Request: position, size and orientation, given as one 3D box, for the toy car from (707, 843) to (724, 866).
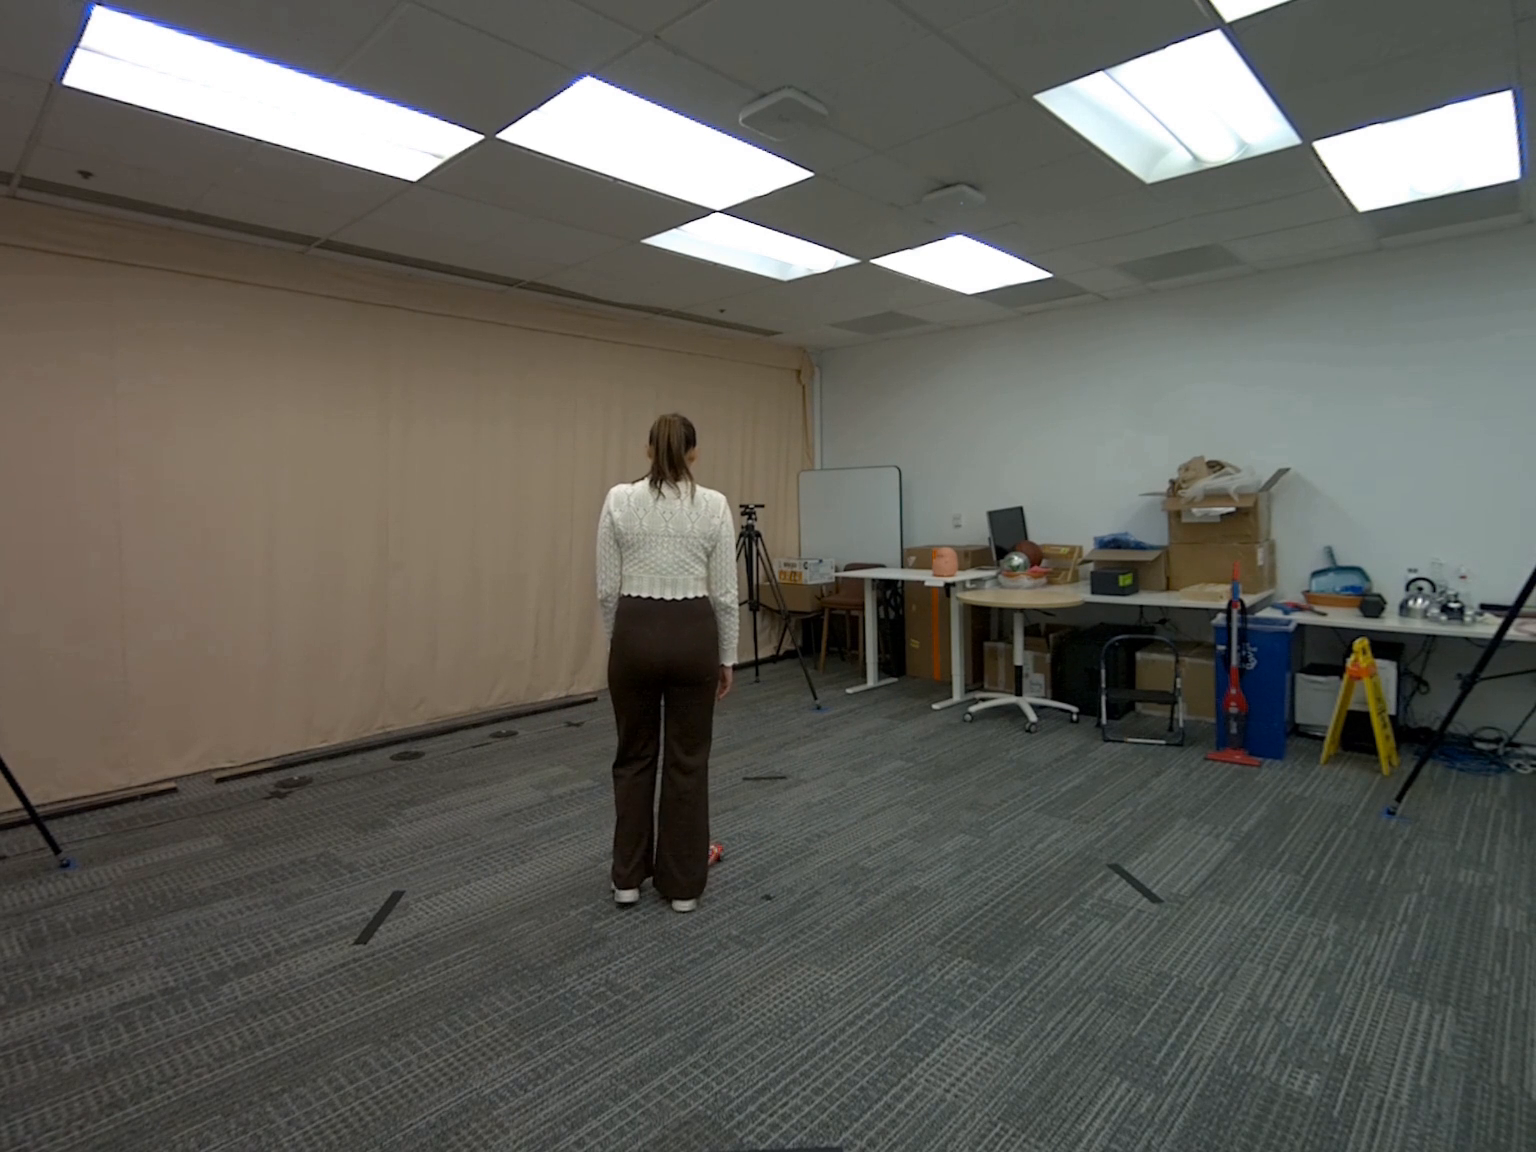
[{"bbox_3d":[-0.272,1.093,3.237,0.134,0.083,0.247,1,-5,27],"label":"toy car"}]
